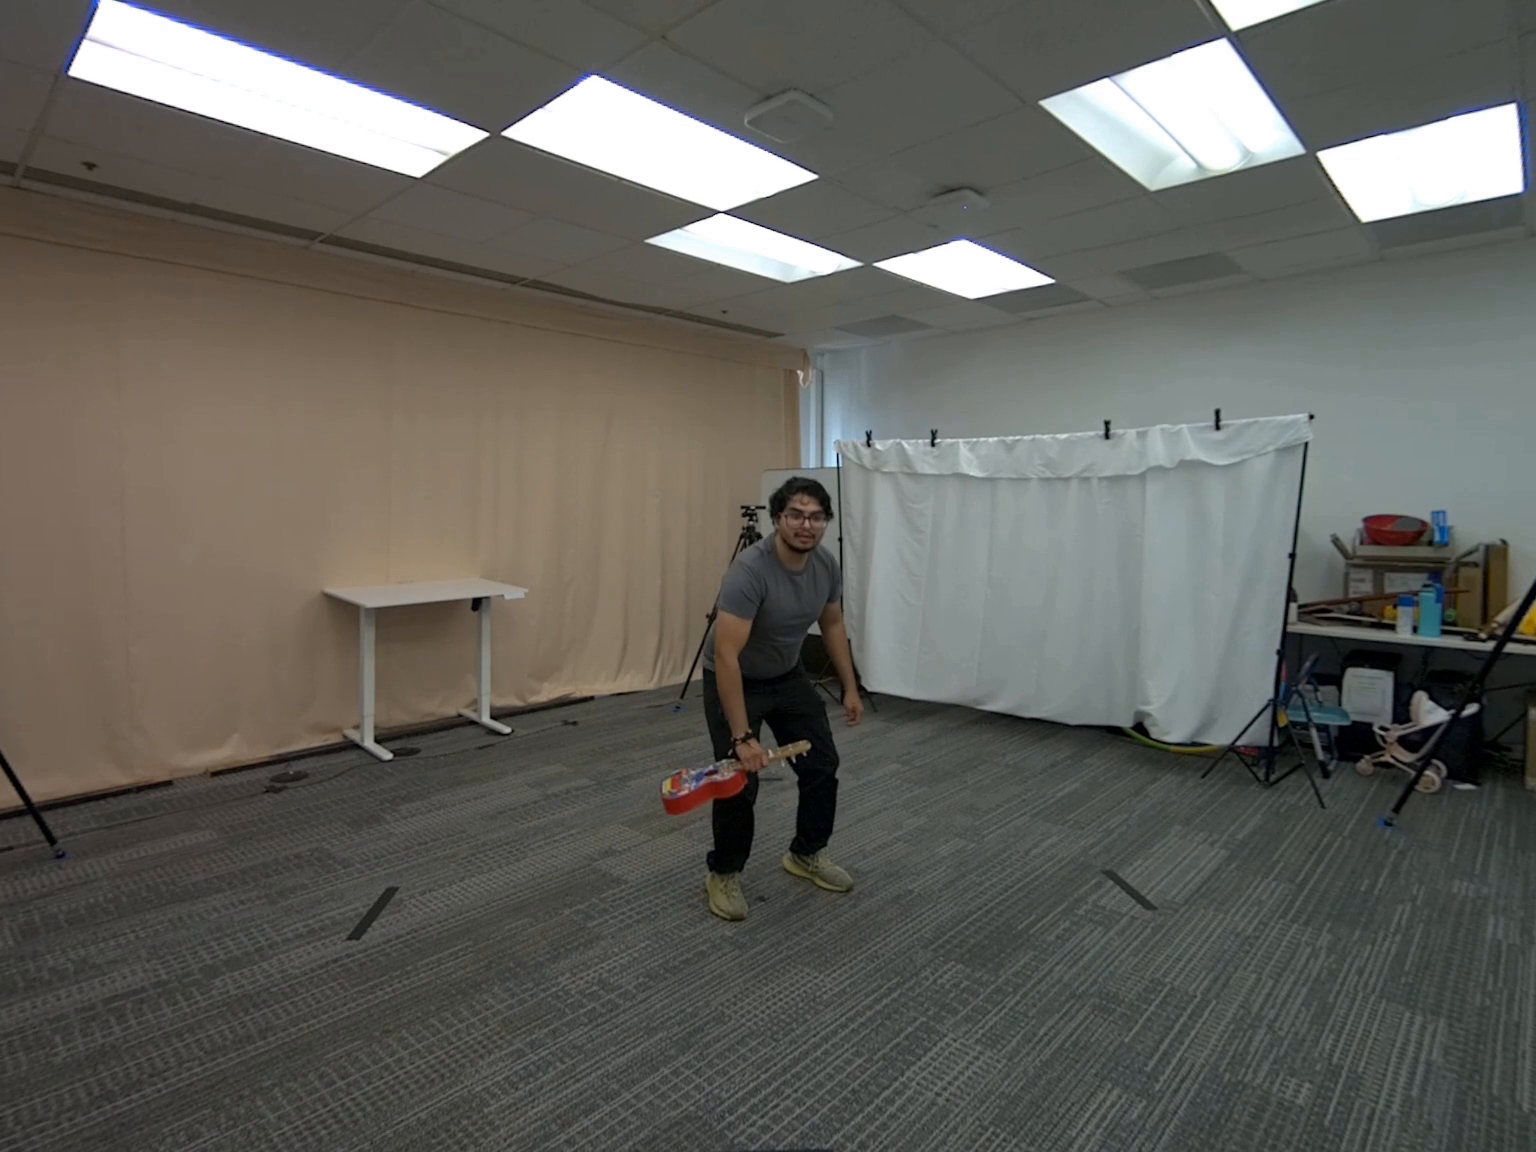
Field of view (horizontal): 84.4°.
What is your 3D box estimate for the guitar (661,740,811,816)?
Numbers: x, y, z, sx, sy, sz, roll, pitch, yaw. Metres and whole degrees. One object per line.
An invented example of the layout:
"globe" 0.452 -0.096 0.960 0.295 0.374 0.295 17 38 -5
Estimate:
"guitar" -0.112 0.646 2.644 0.502 0.070 0.193 -13 11 8
